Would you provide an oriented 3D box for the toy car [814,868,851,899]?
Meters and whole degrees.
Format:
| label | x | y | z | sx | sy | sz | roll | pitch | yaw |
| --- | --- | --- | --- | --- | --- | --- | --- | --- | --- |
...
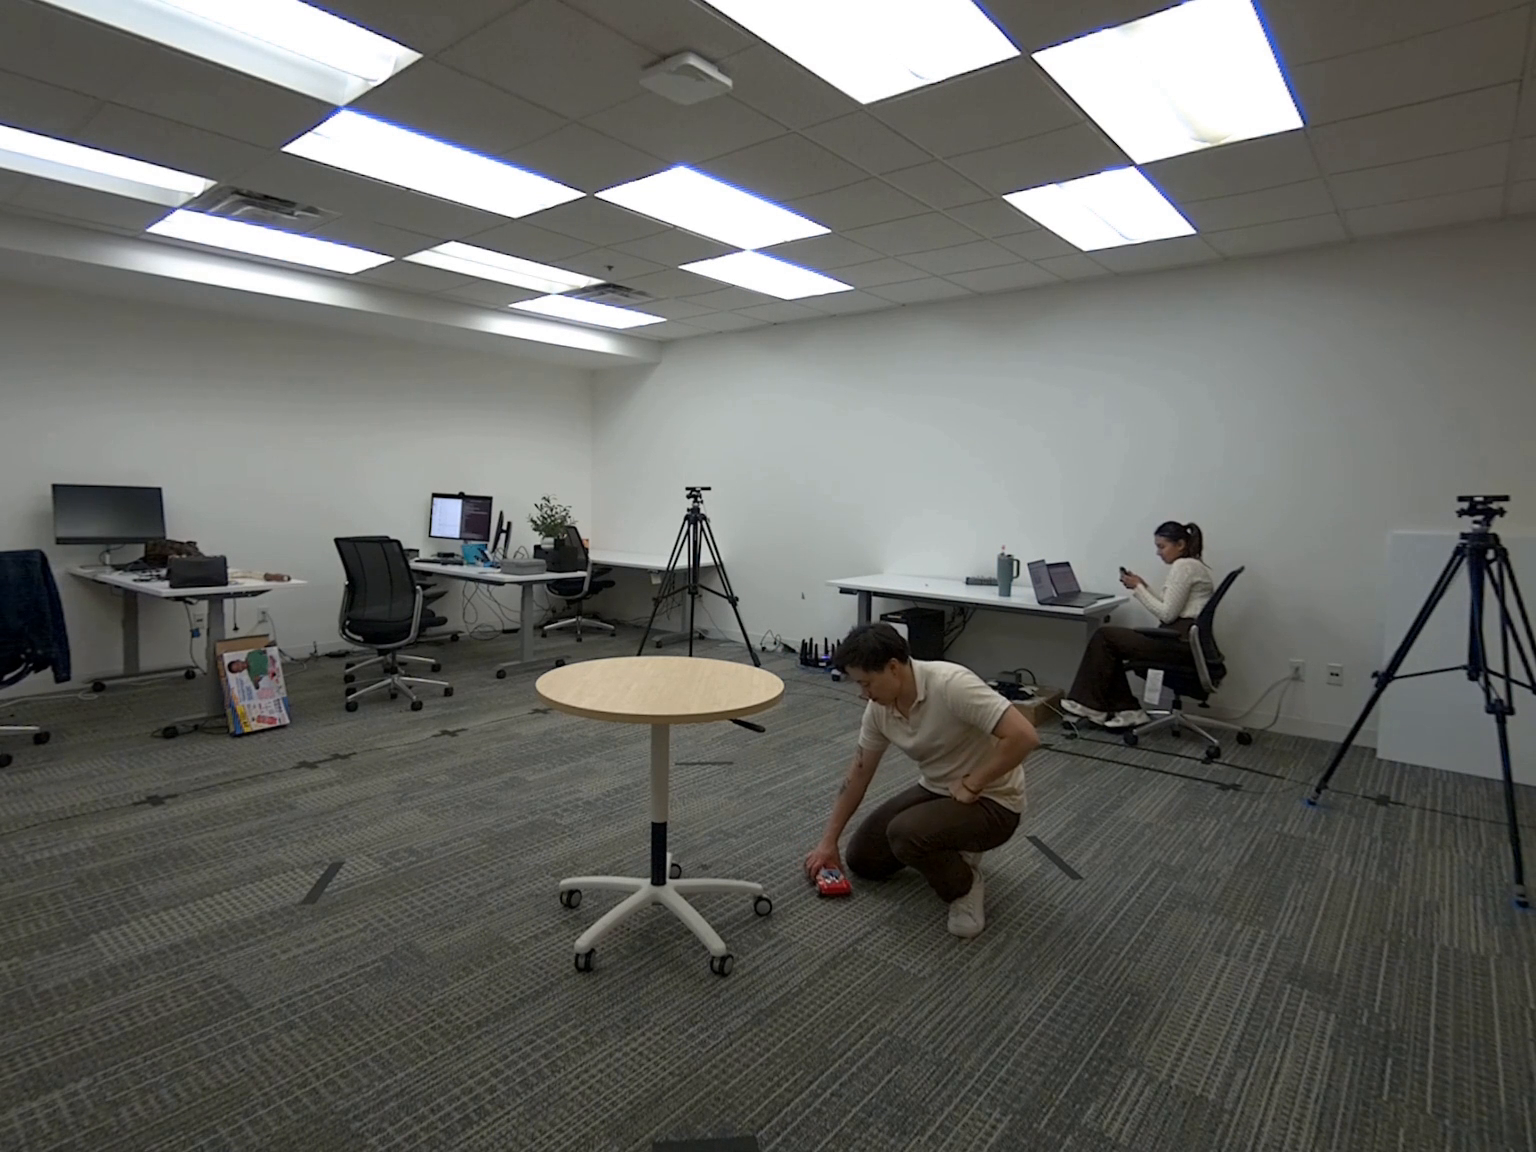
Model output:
| label | x | y | z | sx | sy | sz | roll | pitch | yaw |
| --- | --- | --- | --- | --- | --- | --- | --- | --- | --- |
| toy car | 0.206 | 1.056 | 3.018 | 0.129 | 0.082 | 0.260 | -1 | 16 | -10 |
